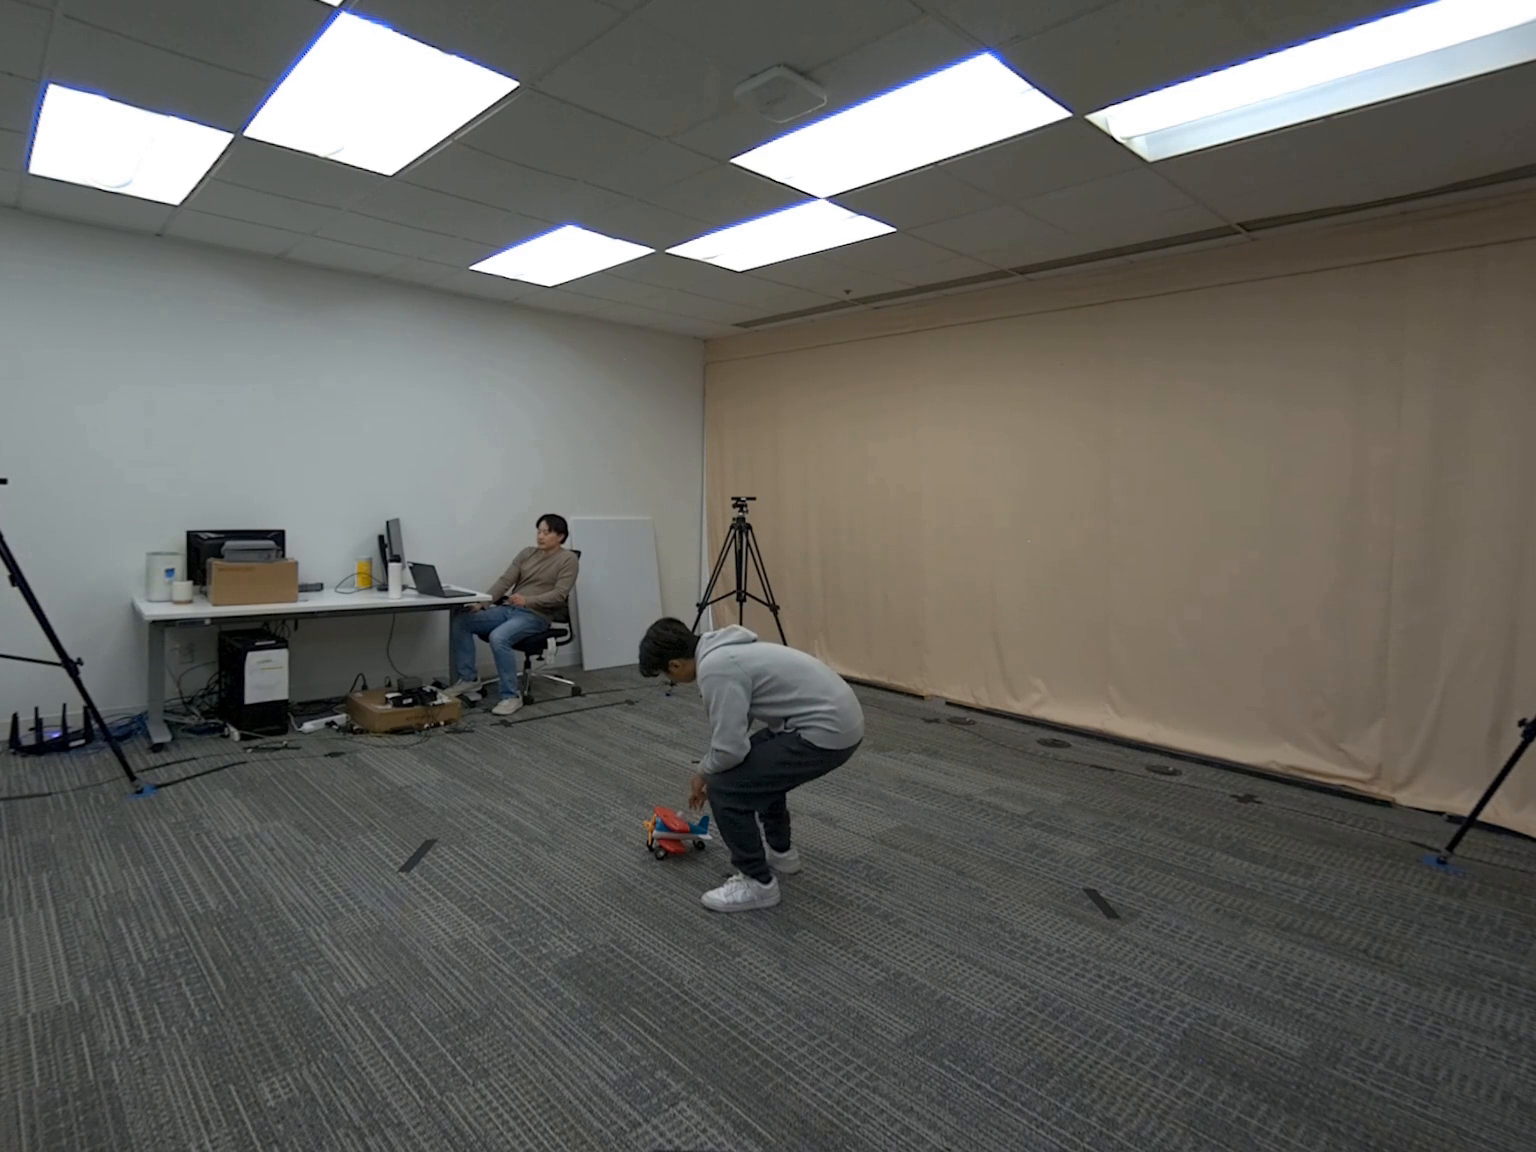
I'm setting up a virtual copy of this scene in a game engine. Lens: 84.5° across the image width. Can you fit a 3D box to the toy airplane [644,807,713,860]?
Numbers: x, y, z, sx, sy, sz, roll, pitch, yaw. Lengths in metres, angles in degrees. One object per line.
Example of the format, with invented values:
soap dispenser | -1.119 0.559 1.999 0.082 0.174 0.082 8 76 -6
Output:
toy airplane | -0.368 1.005 3.317 0.257 0.156 0.254 5 7 36
